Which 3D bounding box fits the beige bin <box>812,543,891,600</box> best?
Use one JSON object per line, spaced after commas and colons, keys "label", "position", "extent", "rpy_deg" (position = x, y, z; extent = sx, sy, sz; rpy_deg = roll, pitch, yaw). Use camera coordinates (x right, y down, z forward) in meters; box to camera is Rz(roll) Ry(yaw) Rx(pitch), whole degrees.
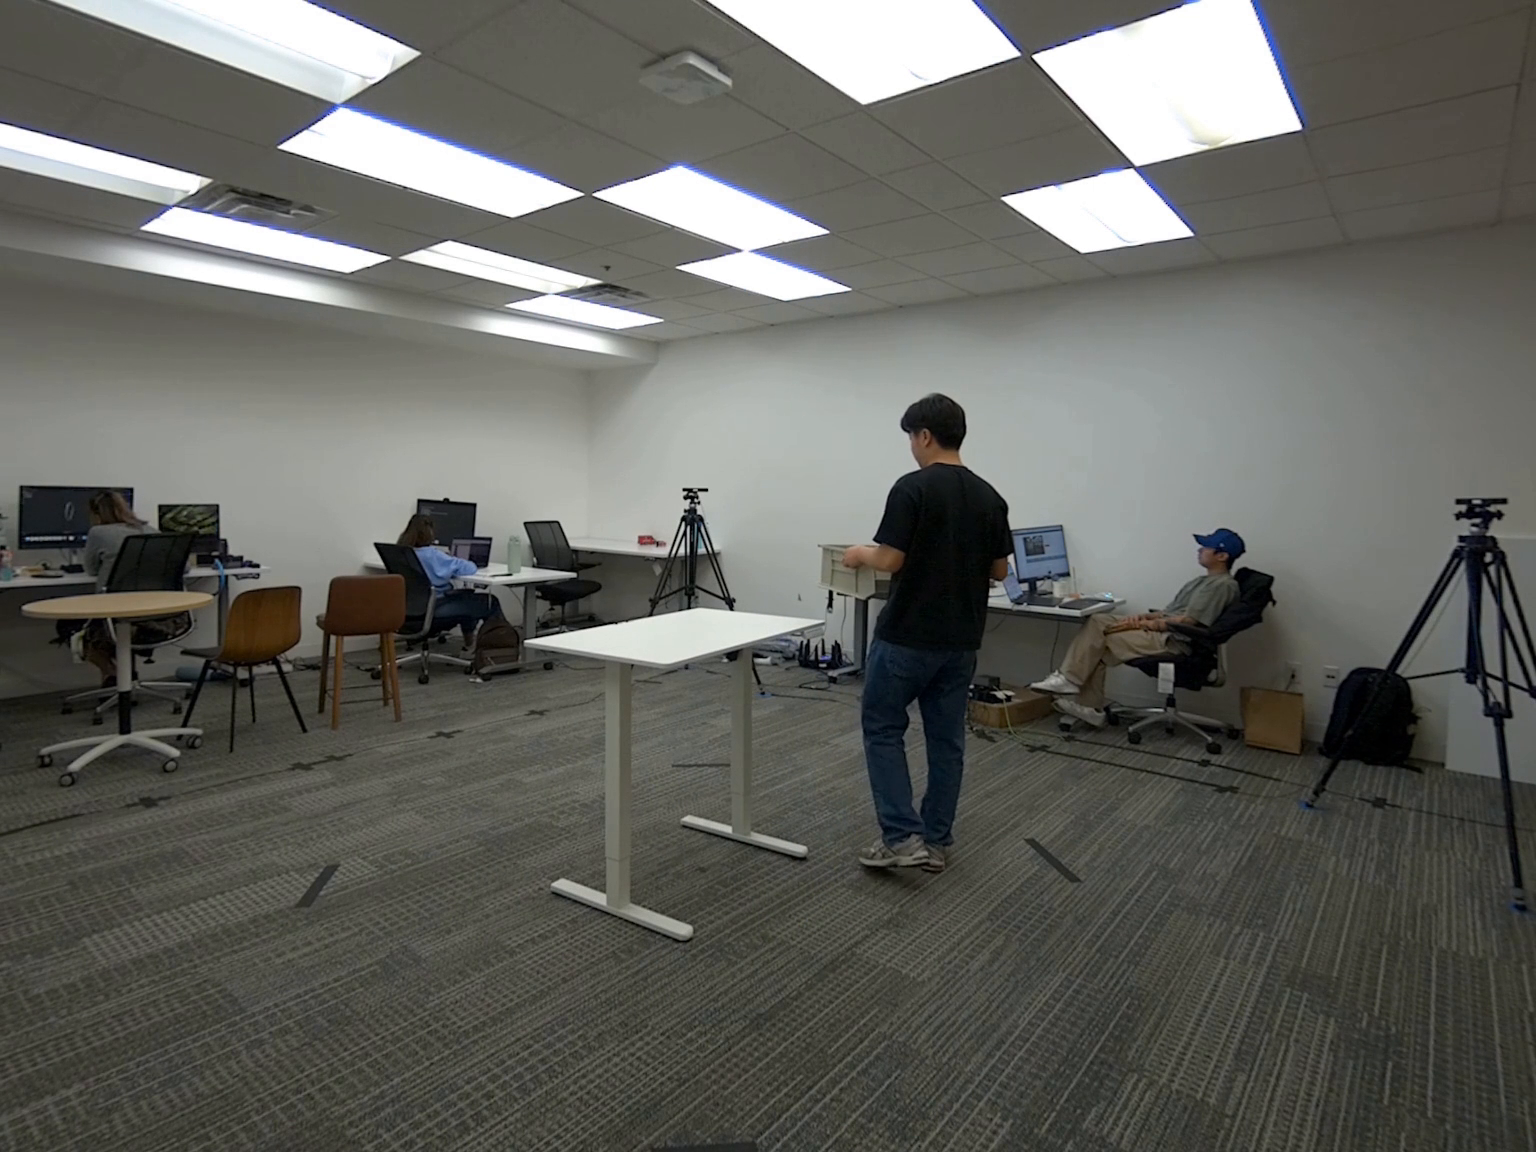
{"label": "beige bin", "position": [0.474, -0.024, 3.514], "extent": [0.410, 0.188, 0.389], "rpy_deg": [0, 6, -32]}
